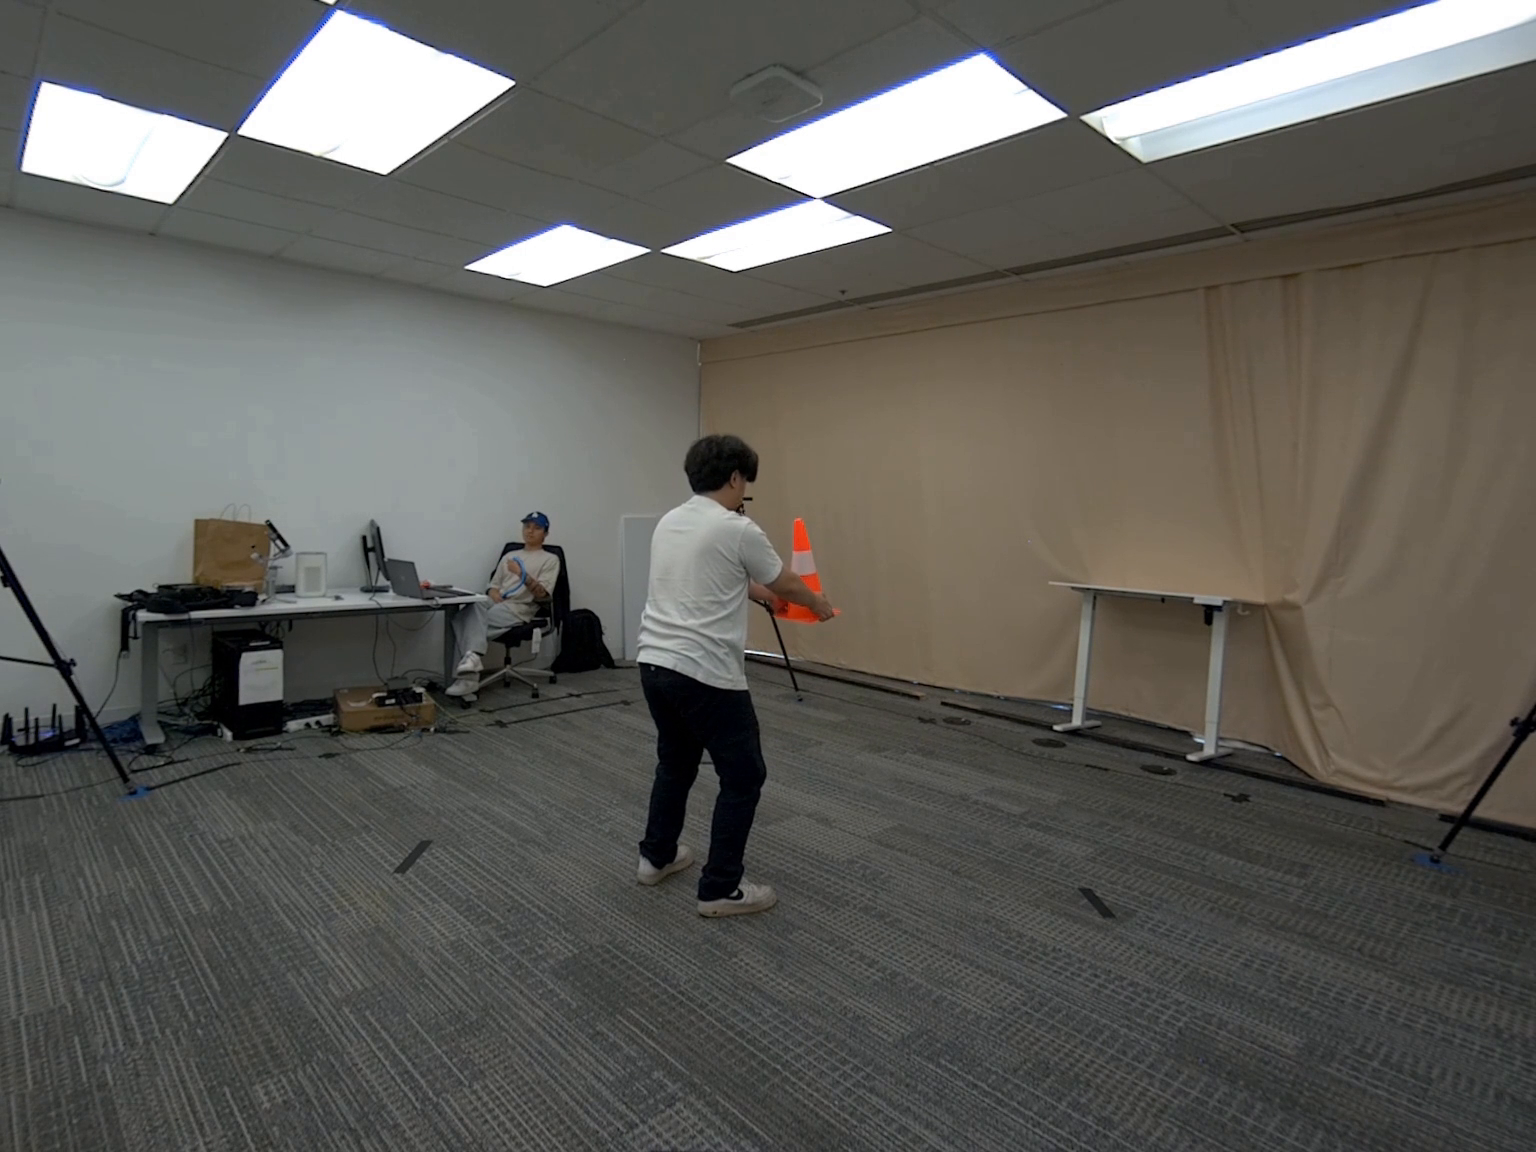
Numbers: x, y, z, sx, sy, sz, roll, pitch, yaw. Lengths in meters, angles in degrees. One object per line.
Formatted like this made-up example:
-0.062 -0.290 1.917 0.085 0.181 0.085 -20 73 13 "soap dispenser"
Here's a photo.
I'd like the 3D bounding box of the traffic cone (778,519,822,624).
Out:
0.130 -0.032 3.304 0.209 0.381 0.200 1 11 29 "traffic cone"
